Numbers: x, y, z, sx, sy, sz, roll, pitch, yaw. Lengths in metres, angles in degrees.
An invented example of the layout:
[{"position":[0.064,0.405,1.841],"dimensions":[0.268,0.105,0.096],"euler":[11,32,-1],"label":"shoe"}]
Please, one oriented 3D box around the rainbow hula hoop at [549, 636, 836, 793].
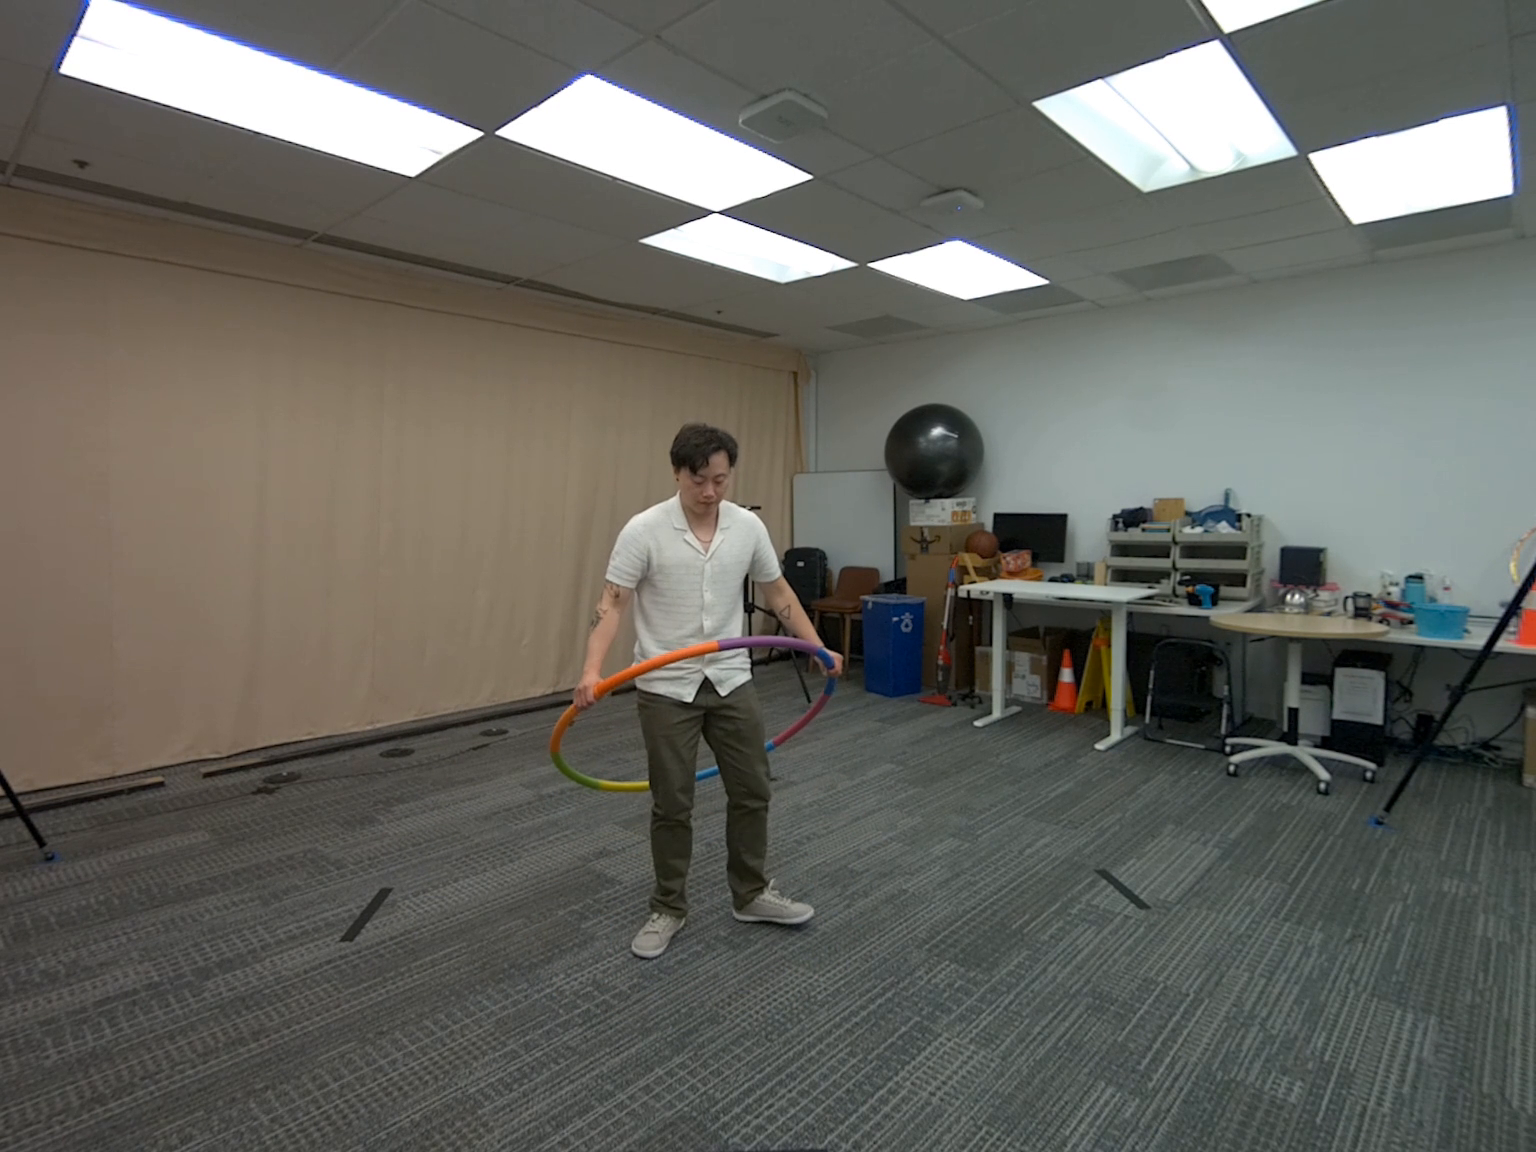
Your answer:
[{"position":[-0.229,0.485,2.793],"dimensions":[0.970,0.036,0.962],"euler":[-13,-32,-11],"label":"rainbow hula hoop"}]
